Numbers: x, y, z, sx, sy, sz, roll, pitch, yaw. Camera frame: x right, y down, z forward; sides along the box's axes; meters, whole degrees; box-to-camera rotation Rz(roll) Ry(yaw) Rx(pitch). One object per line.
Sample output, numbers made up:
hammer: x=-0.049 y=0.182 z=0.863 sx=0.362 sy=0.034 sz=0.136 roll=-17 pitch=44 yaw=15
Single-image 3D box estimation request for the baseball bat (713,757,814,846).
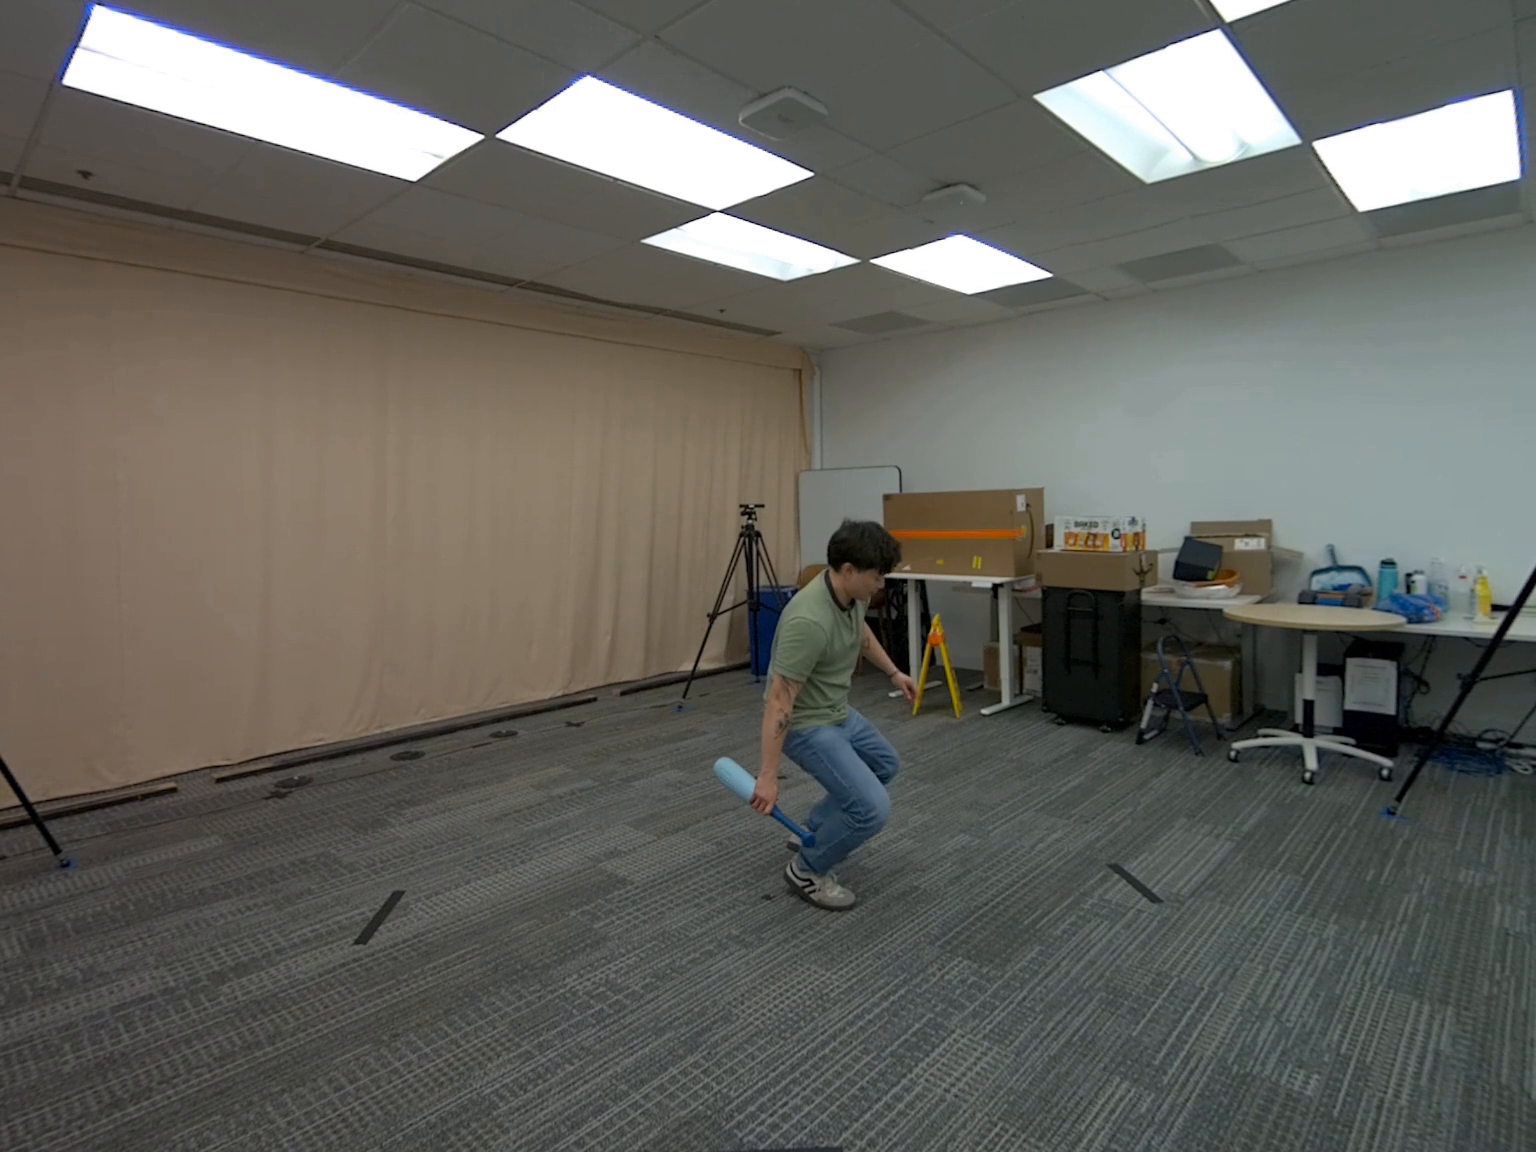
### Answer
baseball bat: x=-0.011 y=0.768 z=2.833 sx=0.086 sy=0.088 sz=0.562 roll=-4 pitch=15 yaw=-34
